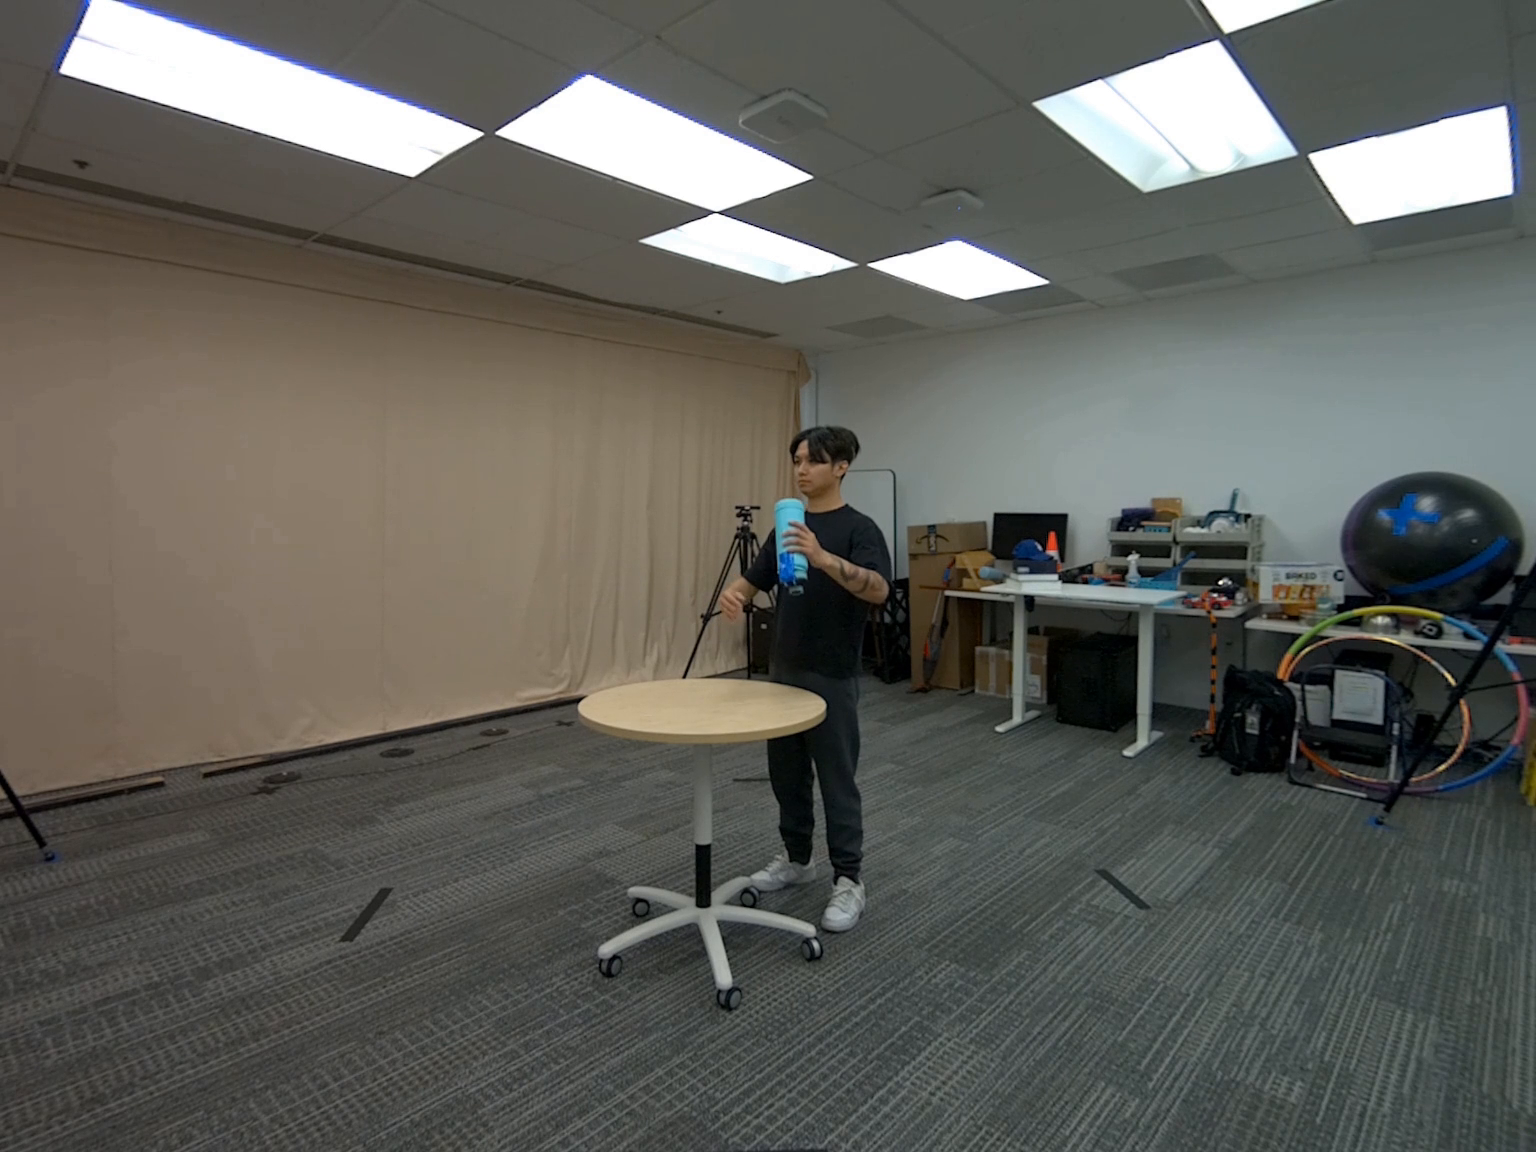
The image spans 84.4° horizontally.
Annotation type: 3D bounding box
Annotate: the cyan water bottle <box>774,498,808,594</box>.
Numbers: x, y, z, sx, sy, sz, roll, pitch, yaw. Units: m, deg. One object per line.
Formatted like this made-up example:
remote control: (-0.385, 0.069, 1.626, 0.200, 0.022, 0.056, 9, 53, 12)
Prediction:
cyan water bottle: (0.072, -0.076, 2.514, 0.092, 0.287, 0.091, 1, -25, -1)
